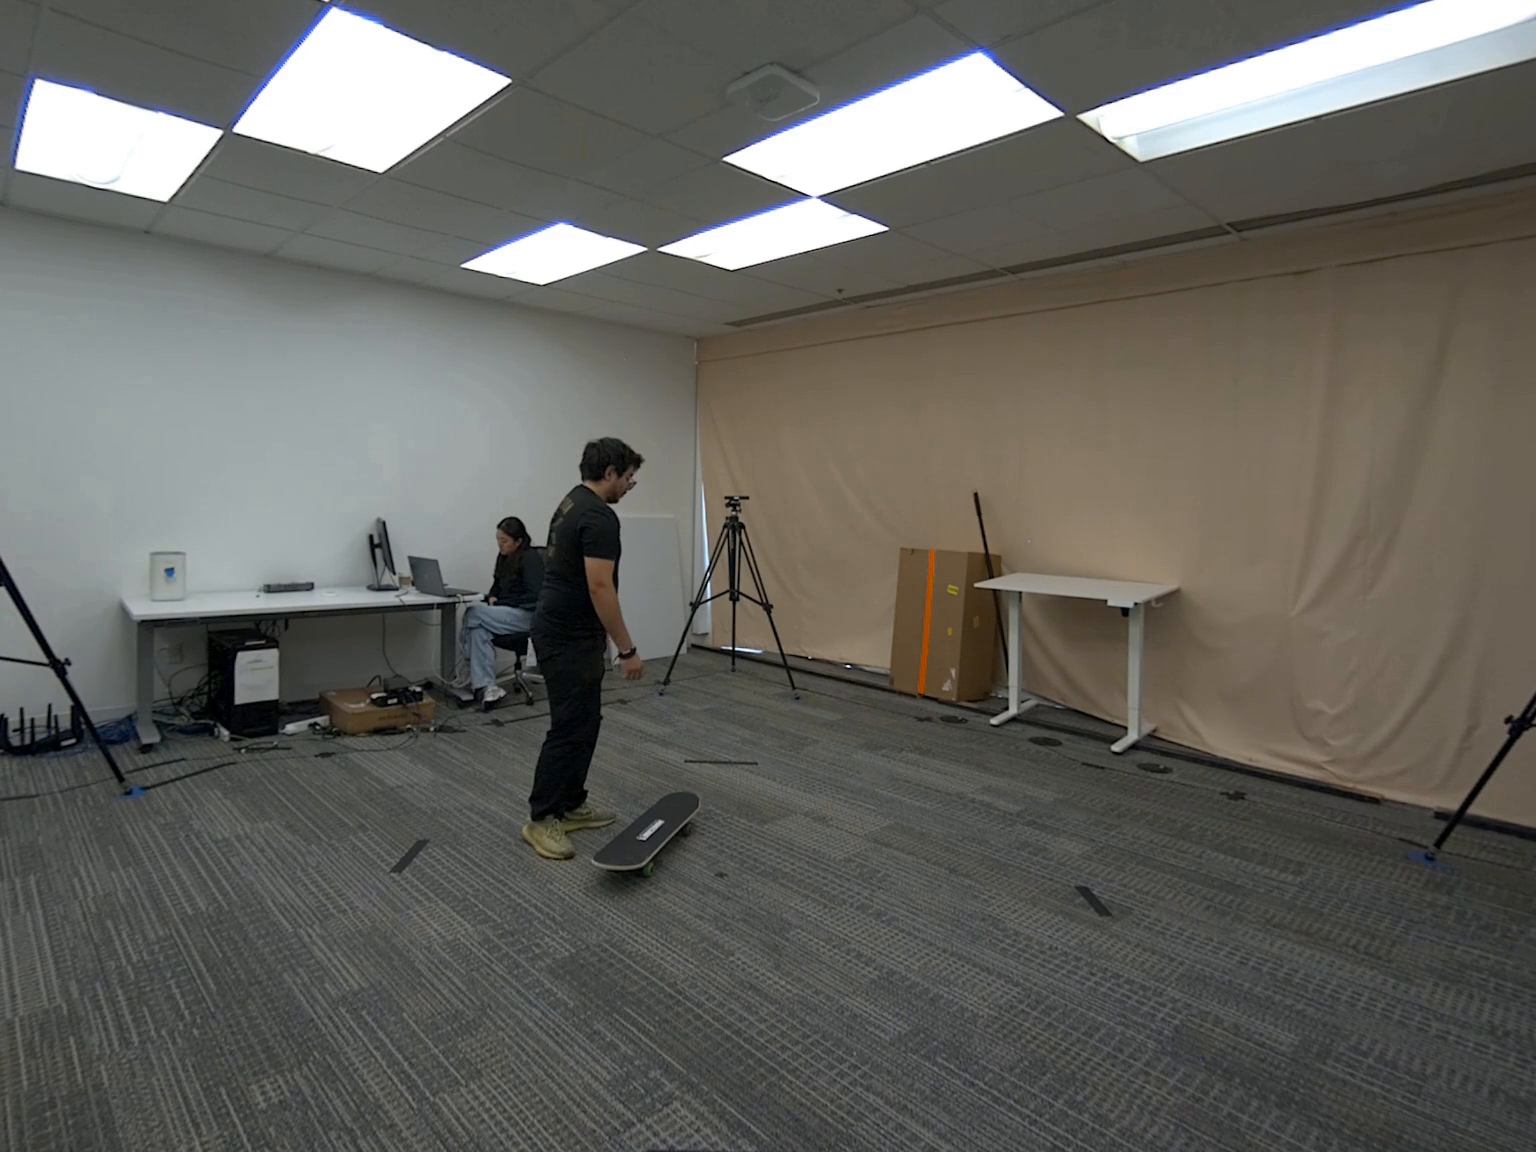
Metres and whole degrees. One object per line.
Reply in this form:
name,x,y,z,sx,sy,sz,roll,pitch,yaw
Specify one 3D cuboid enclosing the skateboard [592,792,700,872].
skateboard,-0.461,1.019,3.290,0.196,0.110,0.777,3,5,14
